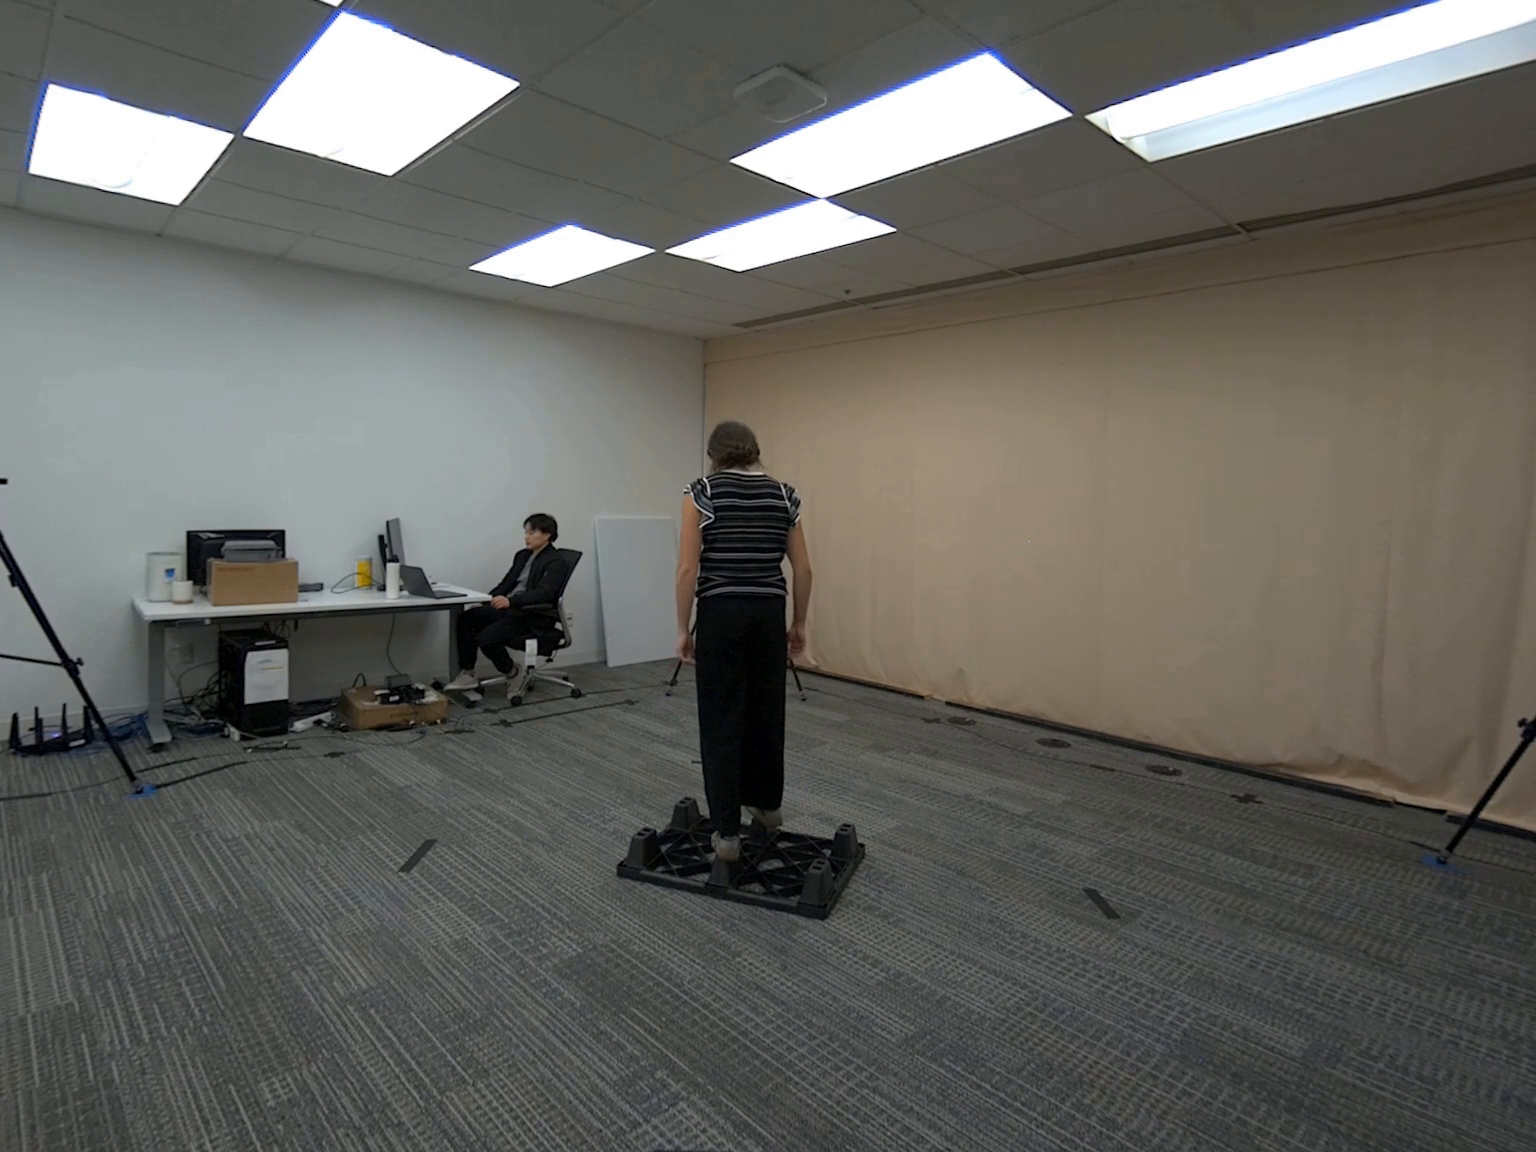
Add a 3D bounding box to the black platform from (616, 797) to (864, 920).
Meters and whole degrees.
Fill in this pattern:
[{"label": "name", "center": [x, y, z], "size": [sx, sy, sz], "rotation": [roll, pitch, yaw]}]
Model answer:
[{"label": "black platform", "center": [-0.096, 1.036, 3.197], "size": [0.819, 0.143, 0.596], "rotation": [3, 5, 21]}]
